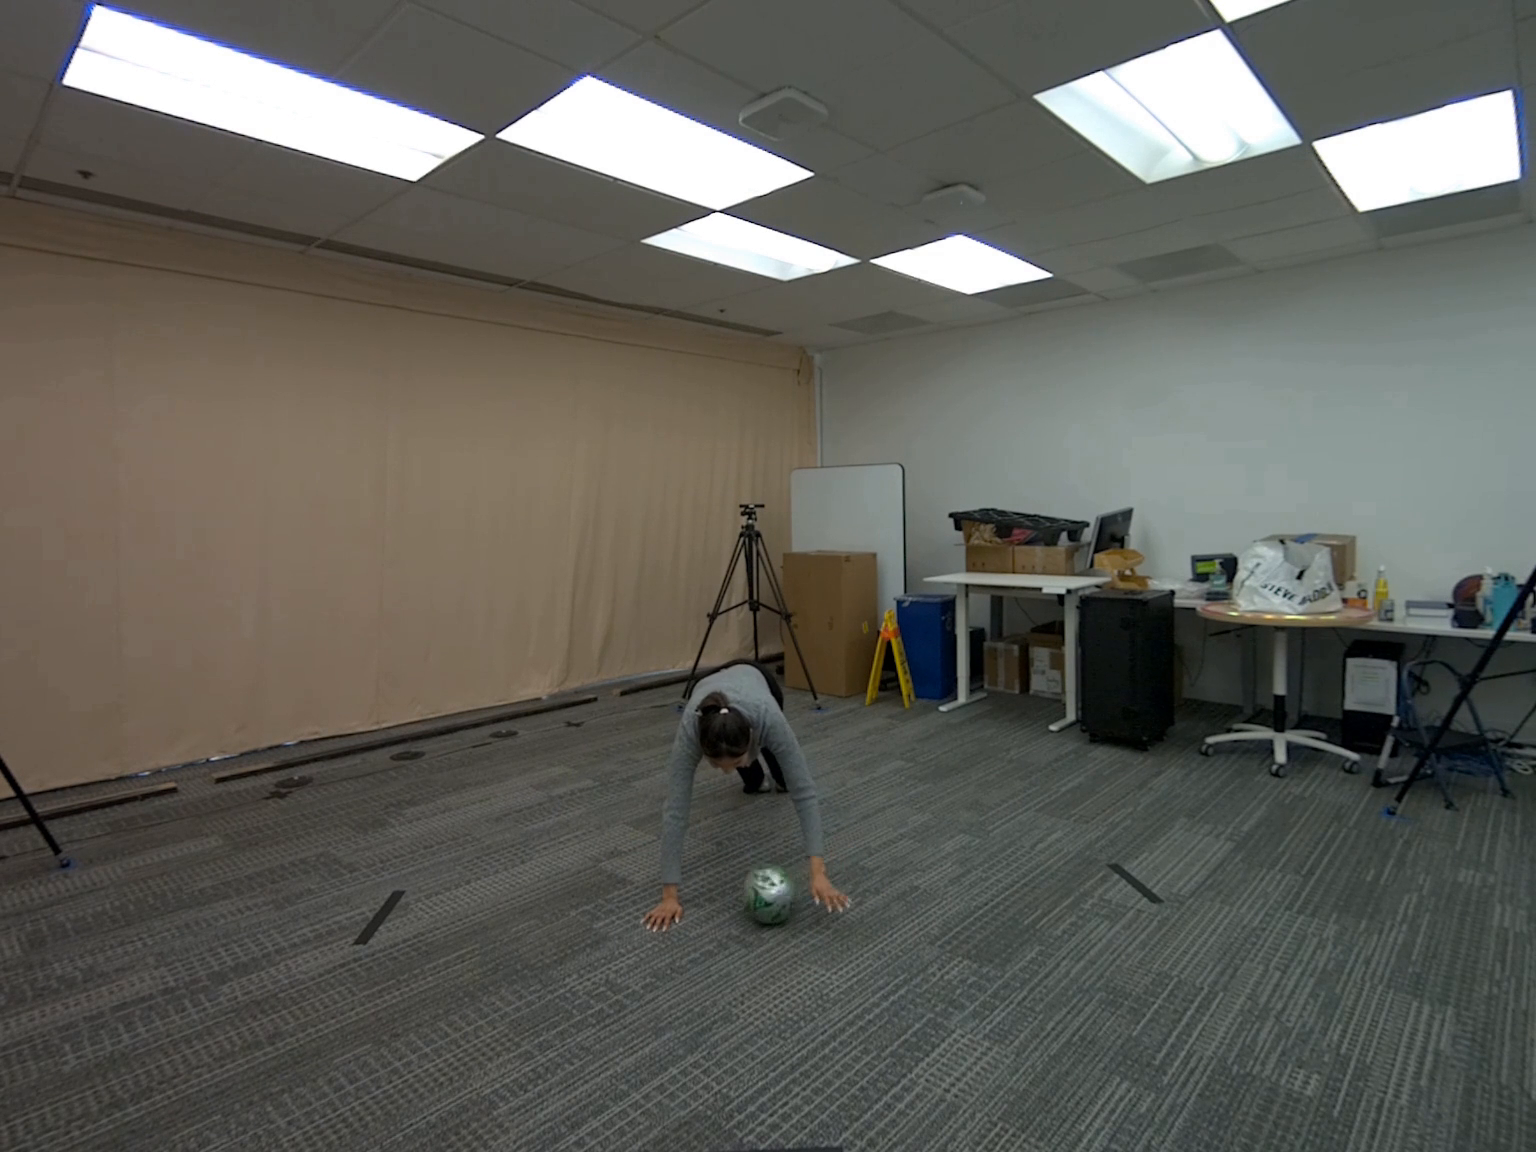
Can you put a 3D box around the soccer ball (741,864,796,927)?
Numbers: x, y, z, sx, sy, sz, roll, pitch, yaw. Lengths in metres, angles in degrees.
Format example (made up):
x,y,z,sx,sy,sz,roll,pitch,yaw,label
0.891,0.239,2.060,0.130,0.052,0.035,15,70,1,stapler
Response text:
x,y,z,sx,sy,sz,roll,pitch,yaw,label
0.003,1.053,2.816,0.187,0.187,0.188,-1,4,-2,soccer ball
